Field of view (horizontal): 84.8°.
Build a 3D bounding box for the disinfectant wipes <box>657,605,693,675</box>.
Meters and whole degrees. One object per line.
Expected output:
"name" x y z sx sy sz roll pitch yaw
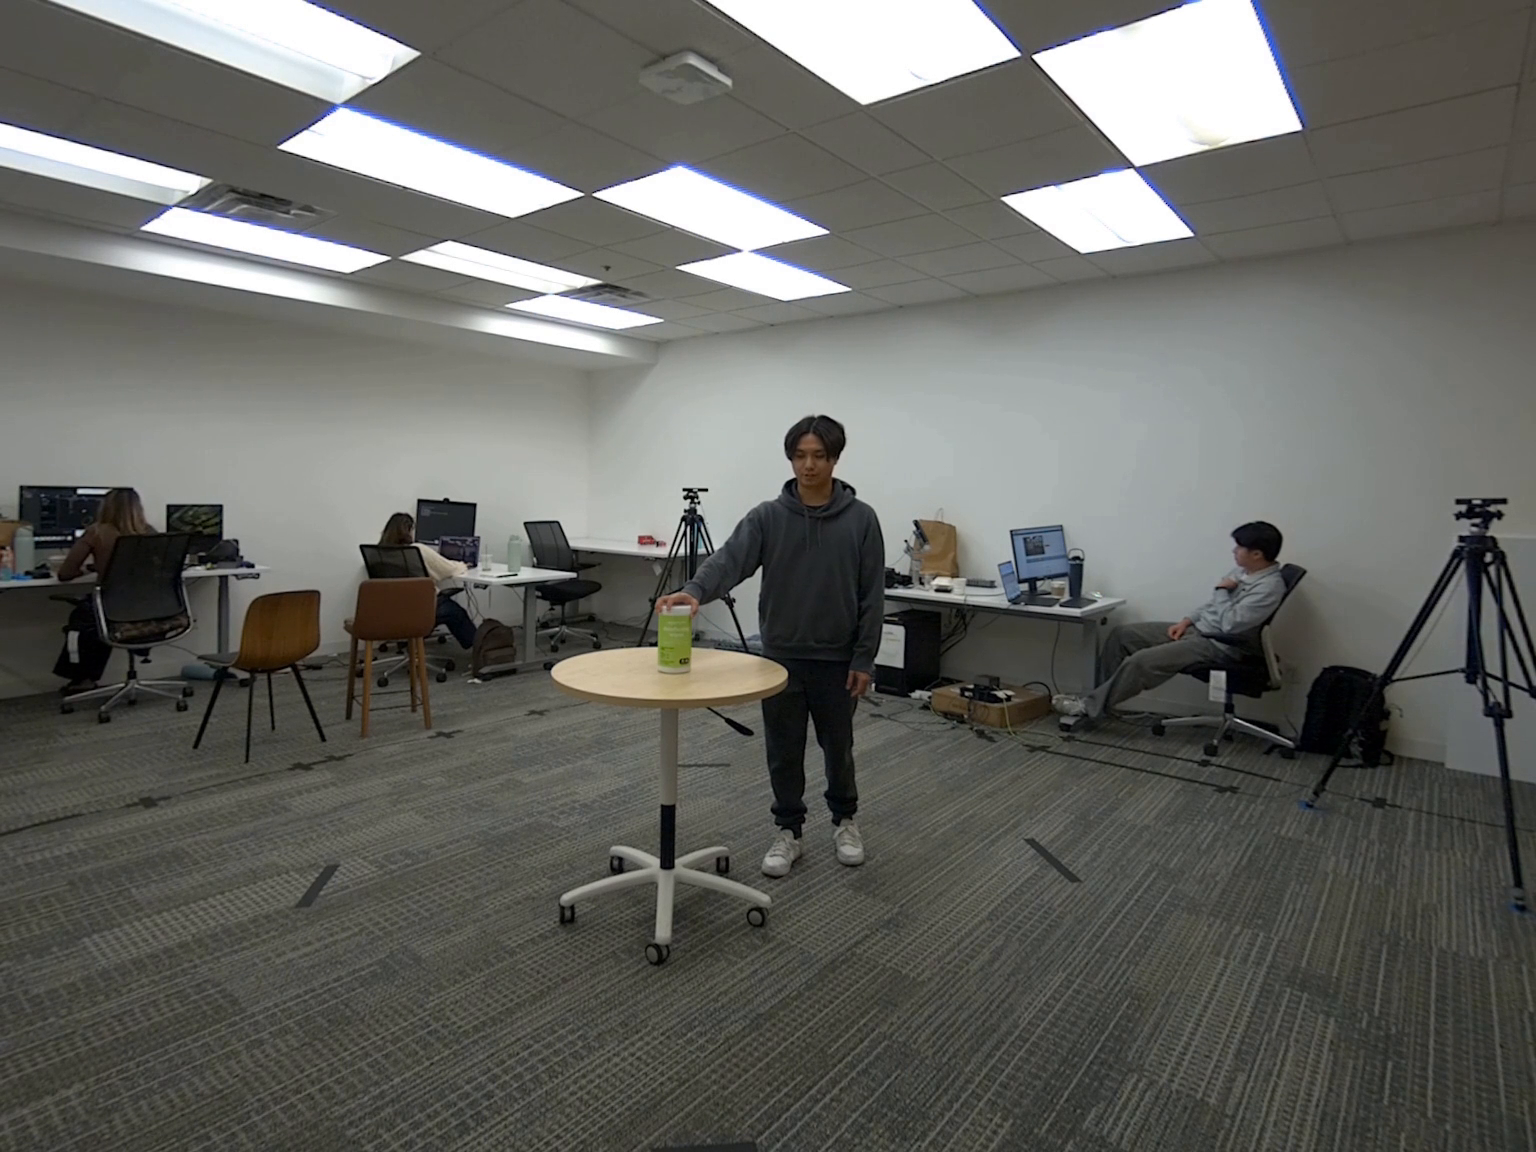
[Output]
"disinfectant wipes" -0.316 0.201 2.754 0.118 0.217 0.118 1 3 -2
